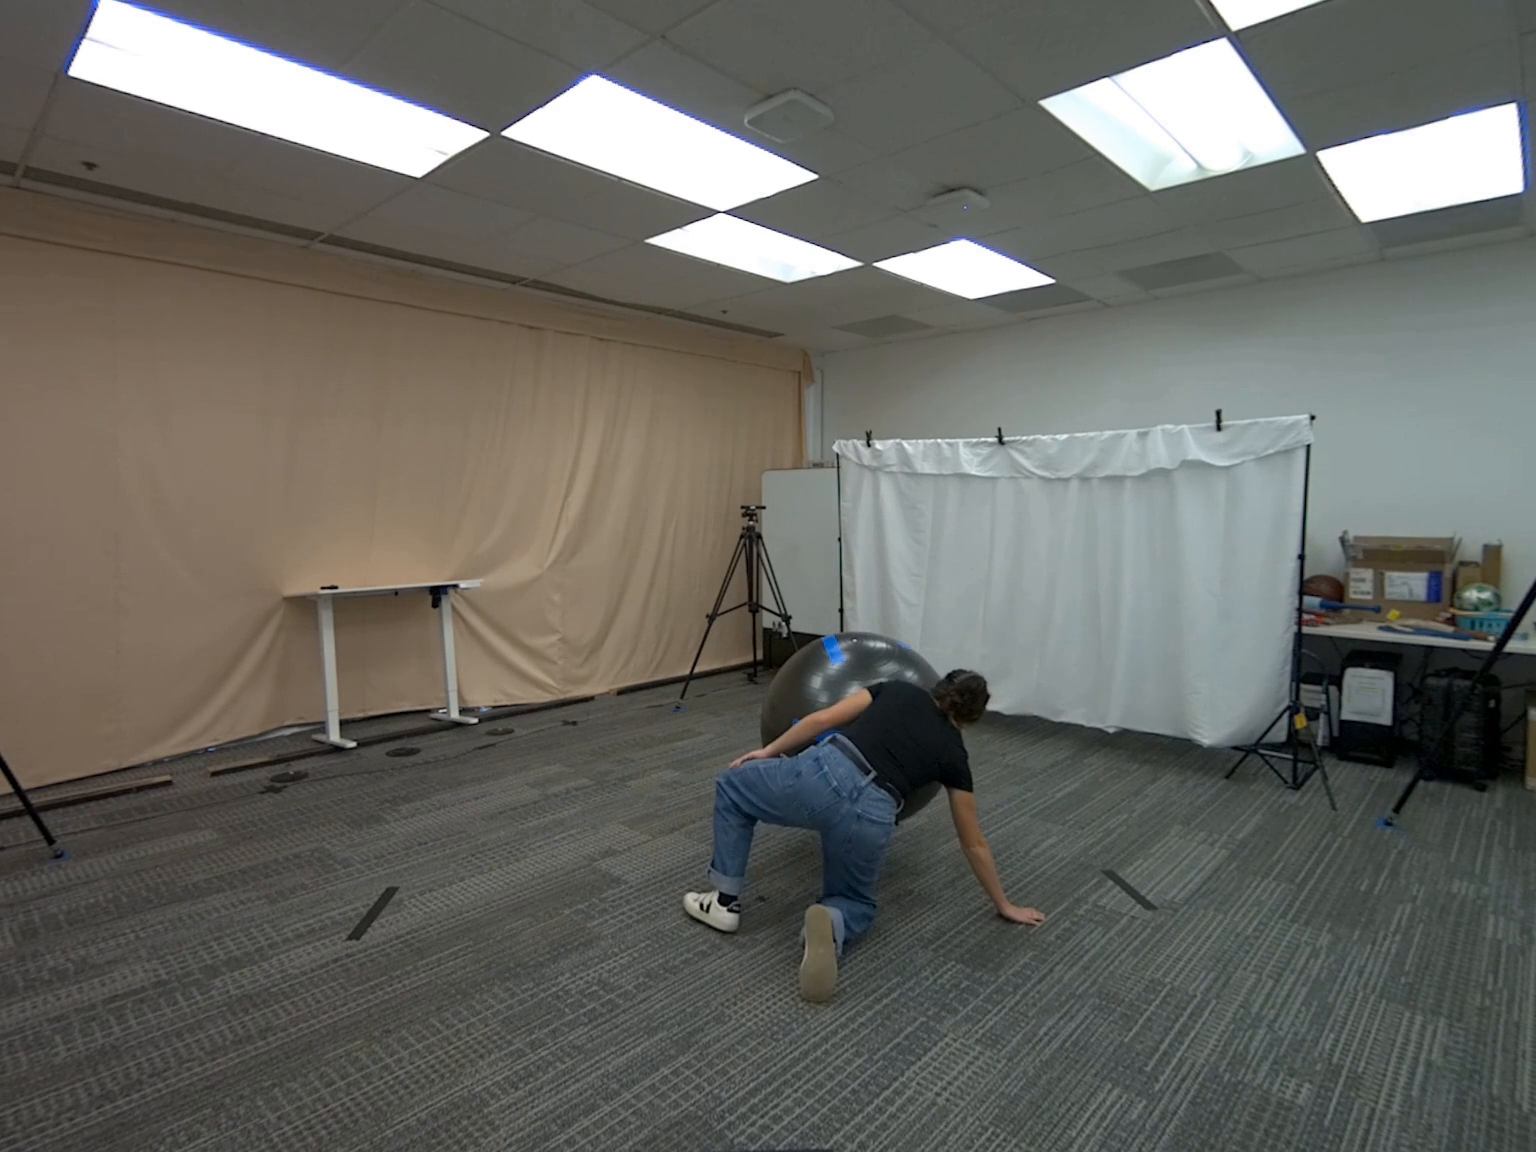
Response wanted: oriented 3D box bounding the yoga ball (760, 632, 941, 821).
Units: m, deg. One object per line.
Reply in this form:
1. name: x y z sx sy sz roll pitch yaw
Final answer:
1. yoga ball: 0.364 0.605 3.325 0.757 0.756 0.761 0 4 -2
